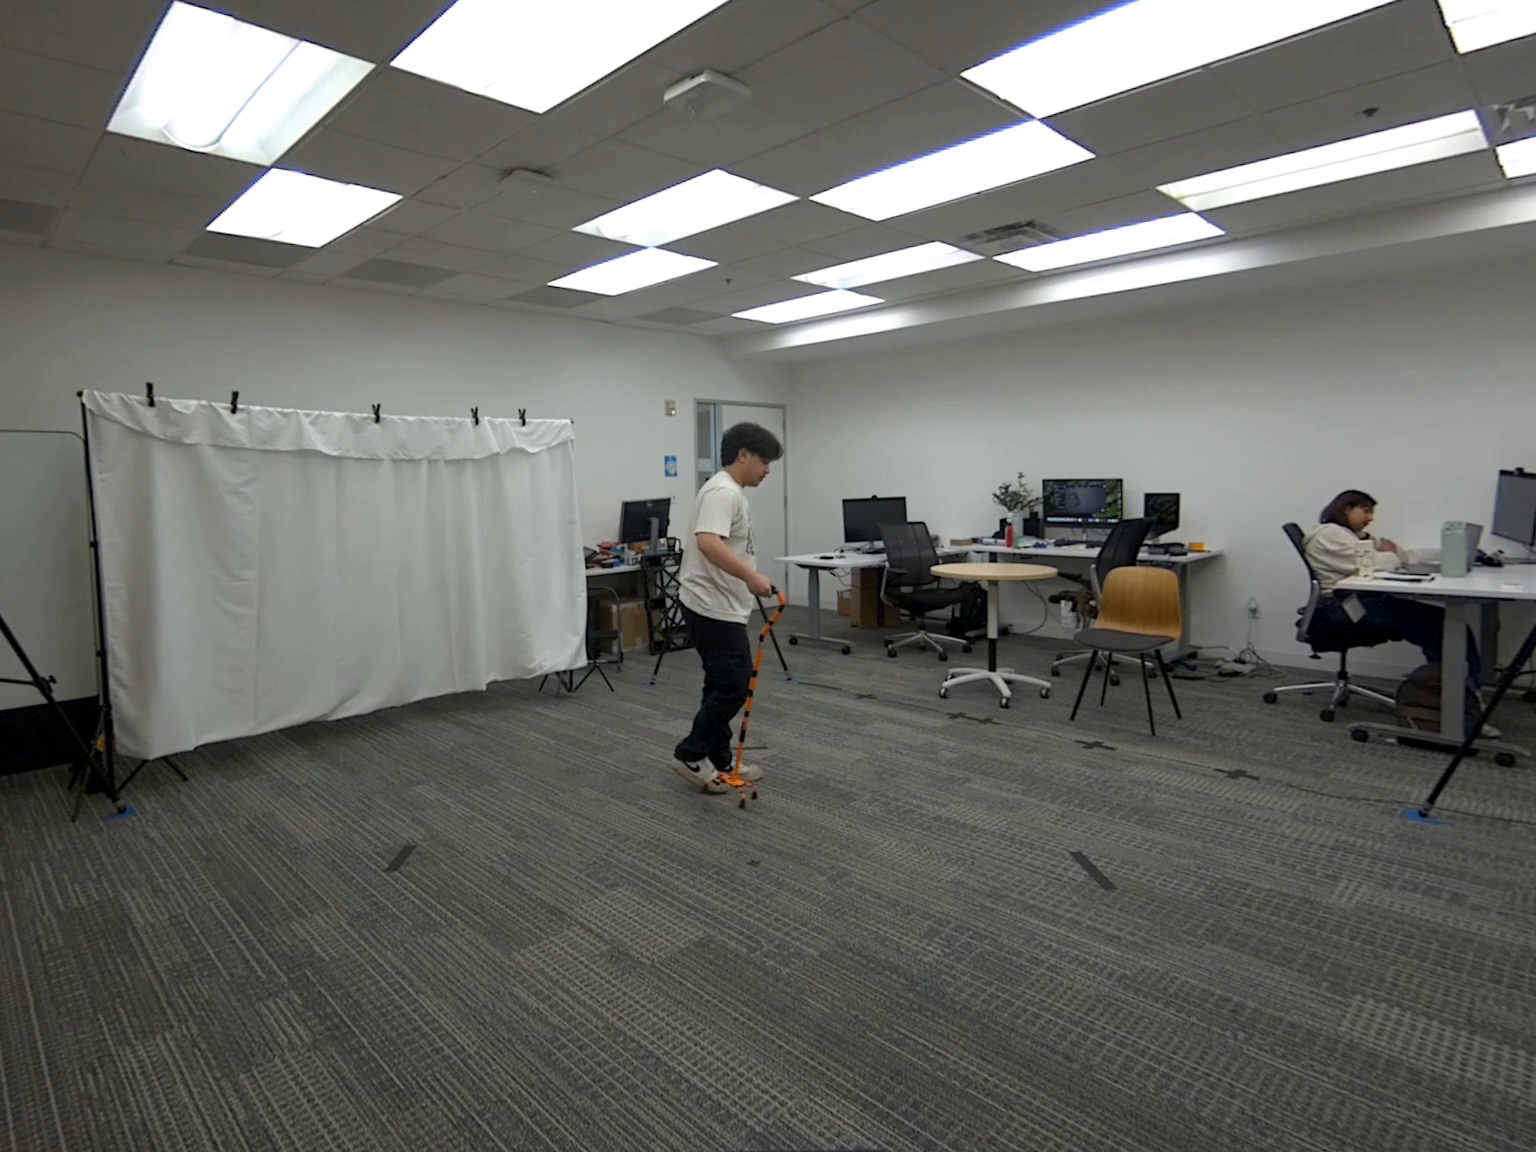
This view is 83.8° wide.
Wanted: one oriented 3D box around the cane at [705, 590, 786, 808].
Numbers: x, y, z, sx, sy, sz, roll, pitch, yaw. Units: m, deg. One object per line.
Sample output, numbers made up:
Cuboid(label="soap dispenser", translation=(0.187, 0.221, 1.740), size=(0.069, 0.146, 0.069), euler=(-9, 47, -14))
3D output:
Cuboid(label="cane", translation=(-0.066, 0.497, 3.538), size=(0.211, 0.903, 0.149), euler=(14, 8, 22))
